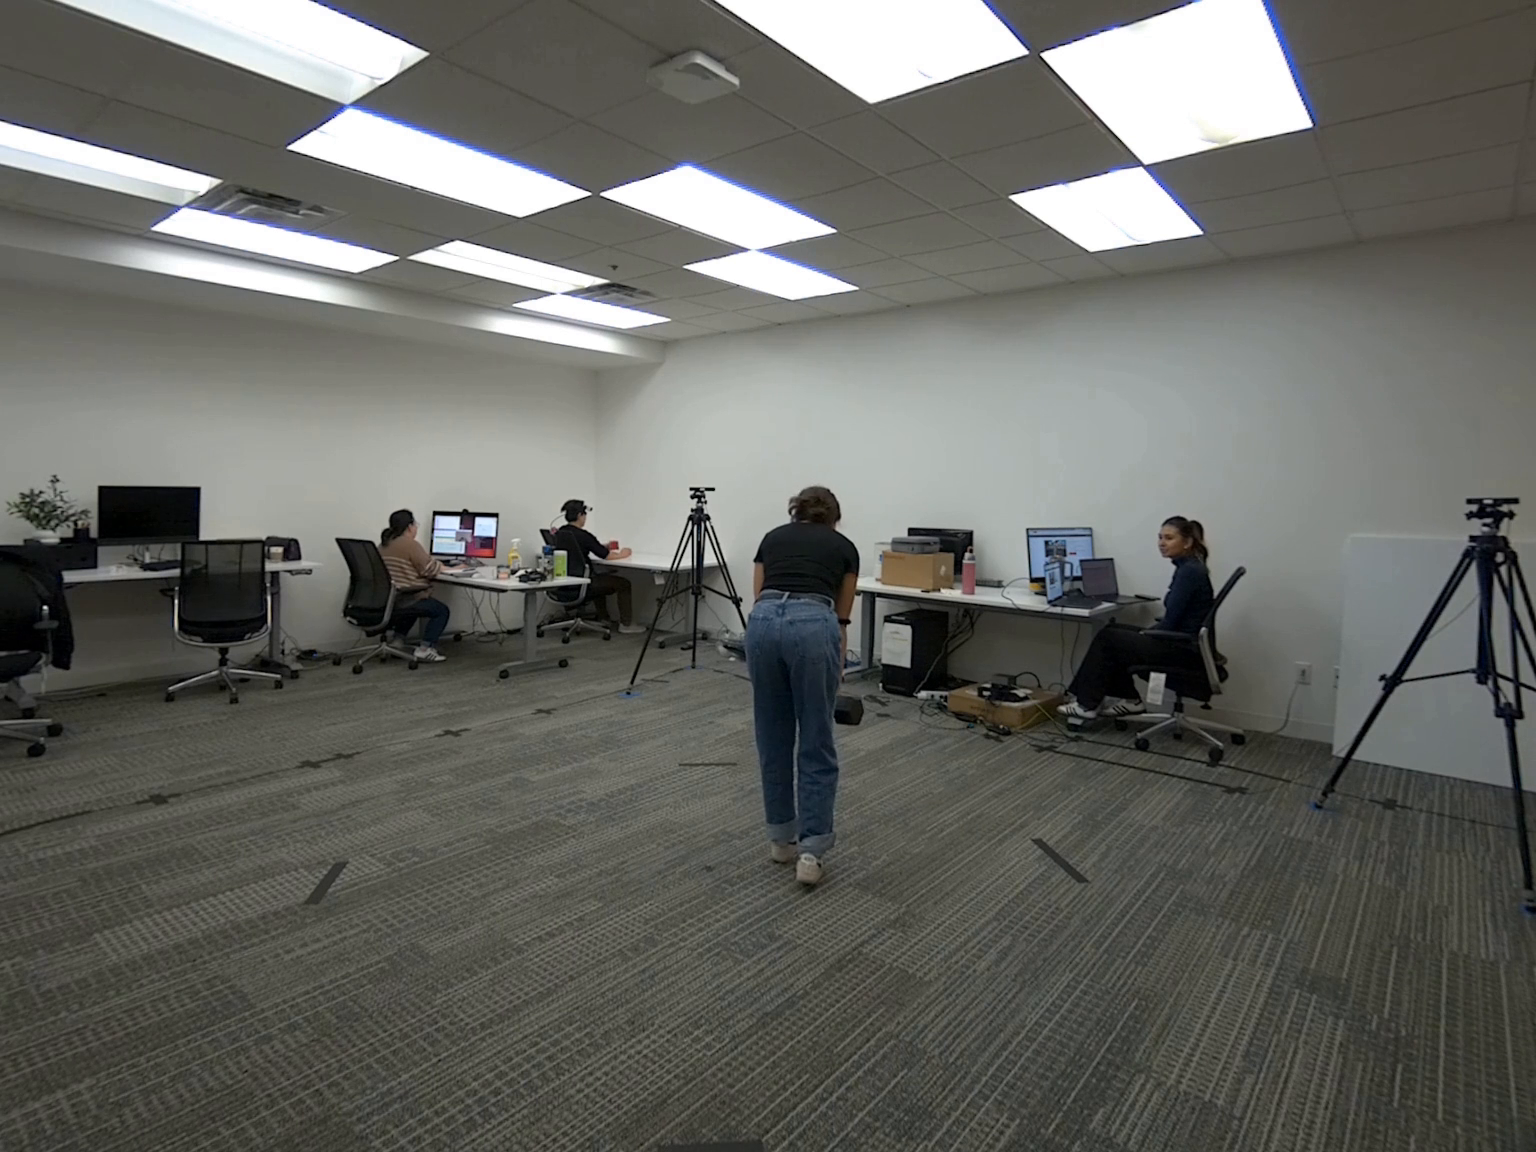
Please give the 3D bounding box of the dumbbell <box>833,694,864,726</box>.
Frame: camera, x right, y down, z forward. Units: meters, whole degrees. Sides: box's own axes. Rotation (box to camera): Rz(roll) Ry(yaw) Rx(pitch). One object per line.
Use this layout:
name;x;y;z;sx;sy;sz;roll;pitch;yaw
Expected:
dumbbell;0.209;0.506;3.266;0.303;0.124;0.104;1;-38;38
